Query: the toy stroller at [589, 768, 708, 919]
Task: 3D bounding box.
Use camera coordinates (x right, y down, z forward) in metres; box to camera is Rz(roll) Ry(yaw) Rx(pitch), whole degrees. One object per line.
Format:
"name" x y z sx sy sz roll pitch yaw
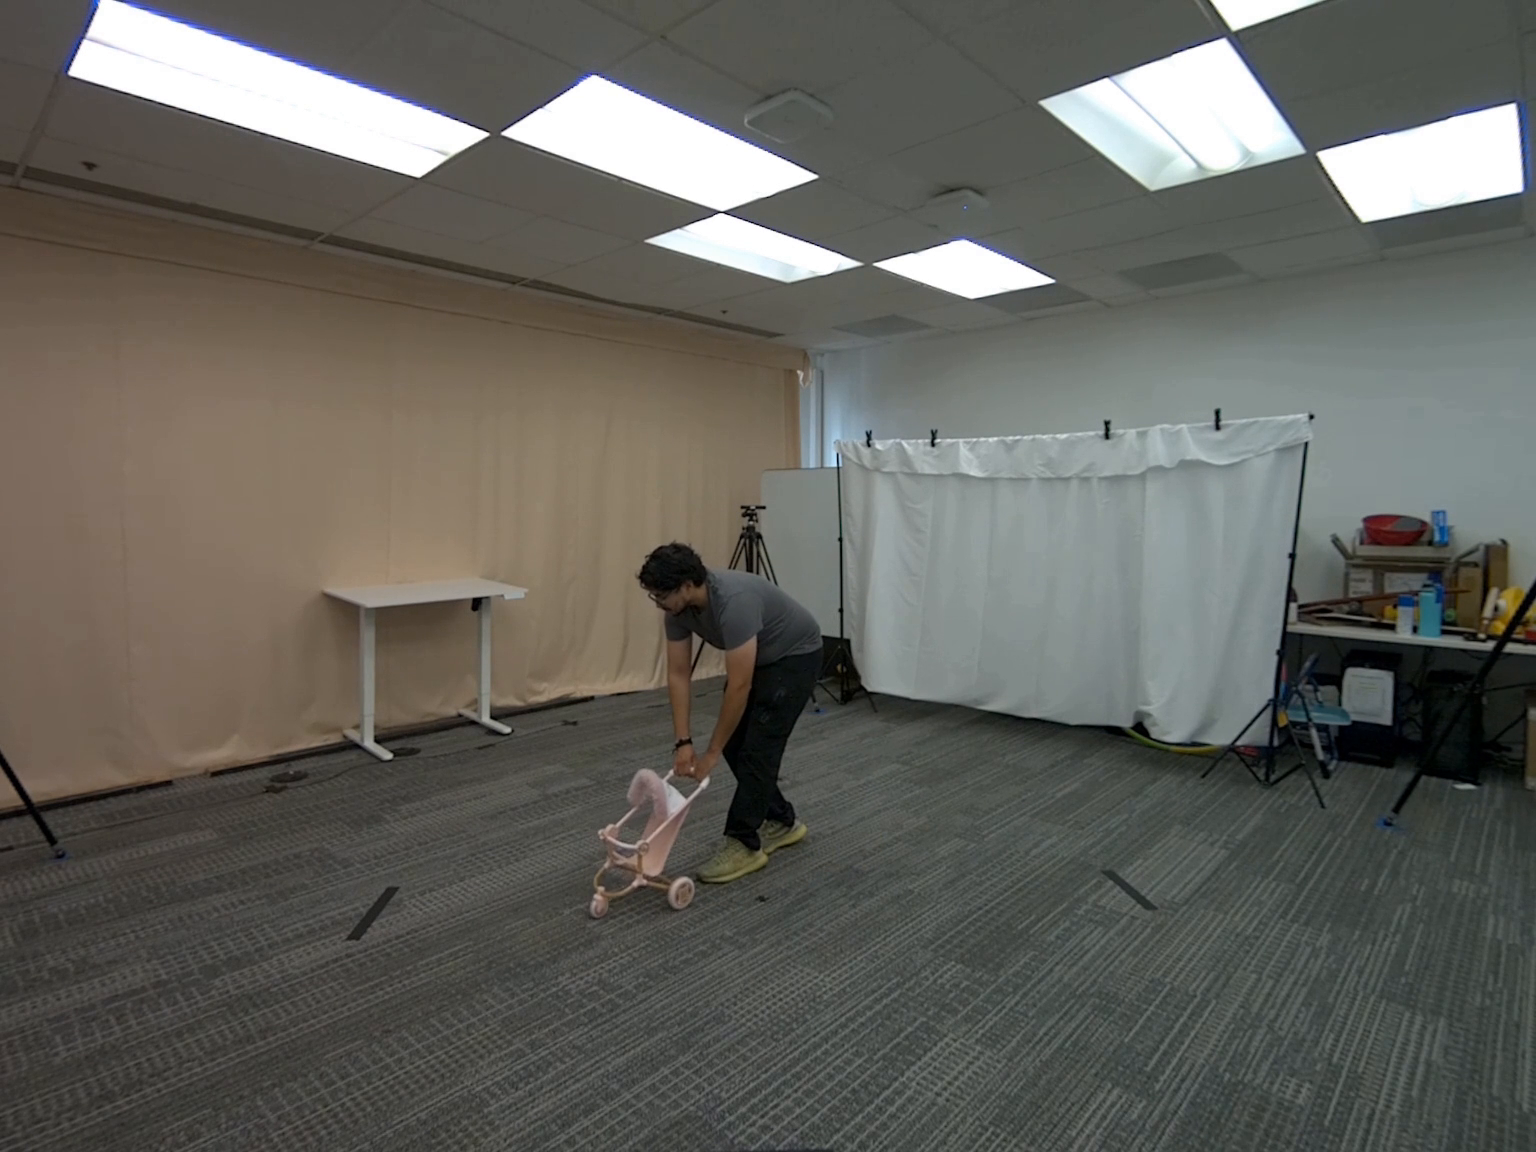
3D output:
"toy stroller" -0.429 0.921 2.966 0.330 0.536 0.290 18 -8 -35
